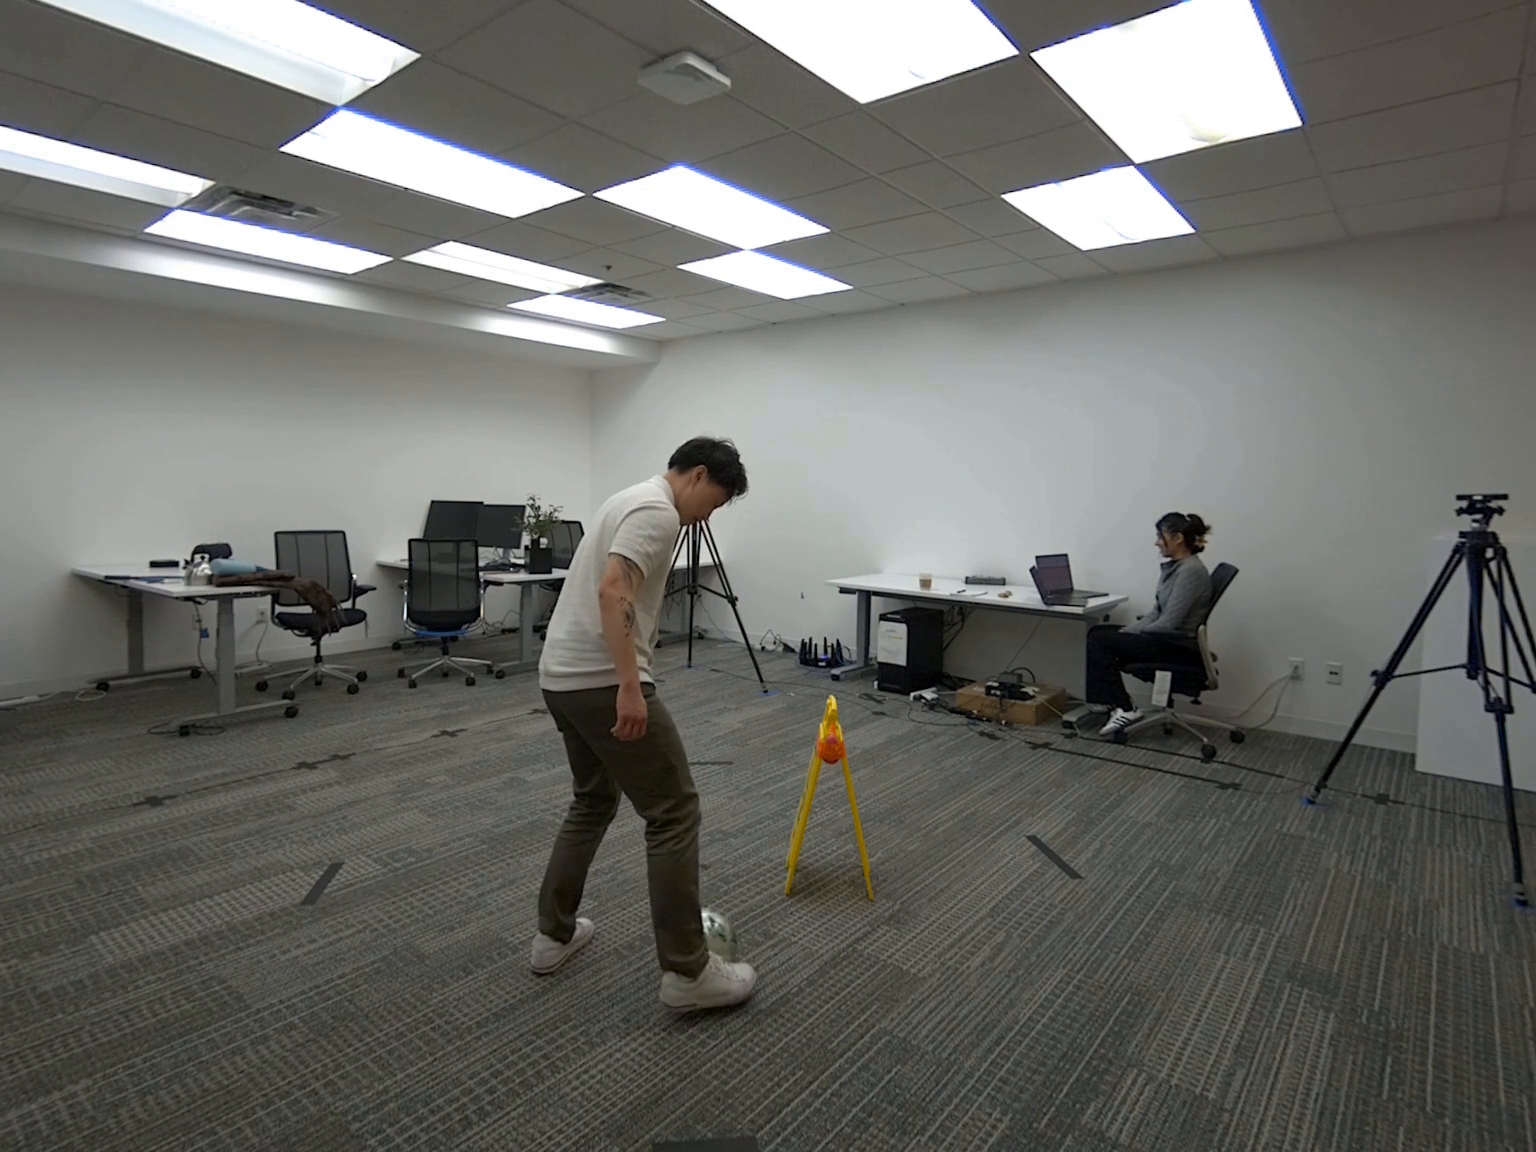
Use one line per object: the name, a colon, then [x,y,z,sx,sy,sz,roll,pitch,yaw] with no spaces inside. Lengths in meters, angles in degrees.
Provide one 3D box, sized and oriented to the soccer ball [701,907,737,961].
soccer ball: [-0.189,1.038,2.419,0.187,0.187,0.188,0,4,-2]
